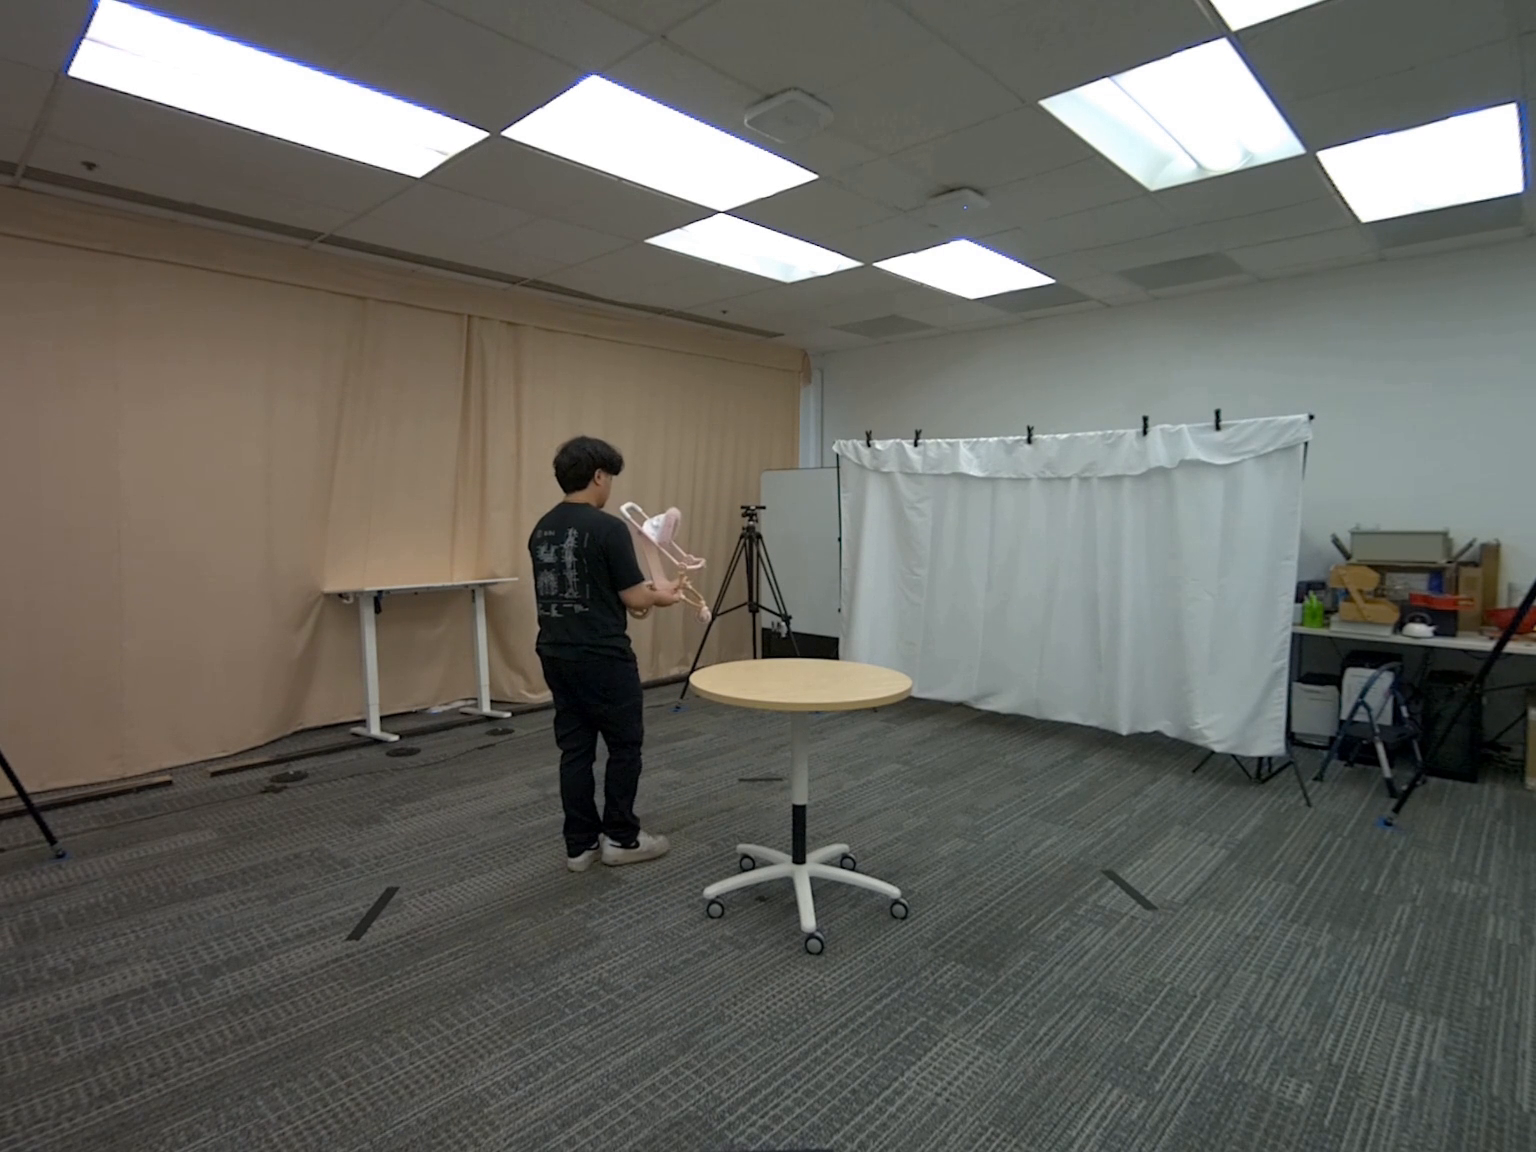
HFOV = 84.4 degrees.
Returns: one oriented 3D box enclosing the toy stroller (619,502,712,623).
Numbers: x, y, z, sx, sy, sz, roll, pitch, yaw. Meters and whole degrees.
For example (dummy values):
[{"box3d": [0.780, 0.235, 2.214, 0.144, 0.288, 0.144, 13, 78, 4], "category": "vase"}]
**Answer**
[{"box3d": [-0.417, -0.048, 3.549, 0.346, 0.532, 0.279, -3, 8, 12], "category": "toy stroller"}]
